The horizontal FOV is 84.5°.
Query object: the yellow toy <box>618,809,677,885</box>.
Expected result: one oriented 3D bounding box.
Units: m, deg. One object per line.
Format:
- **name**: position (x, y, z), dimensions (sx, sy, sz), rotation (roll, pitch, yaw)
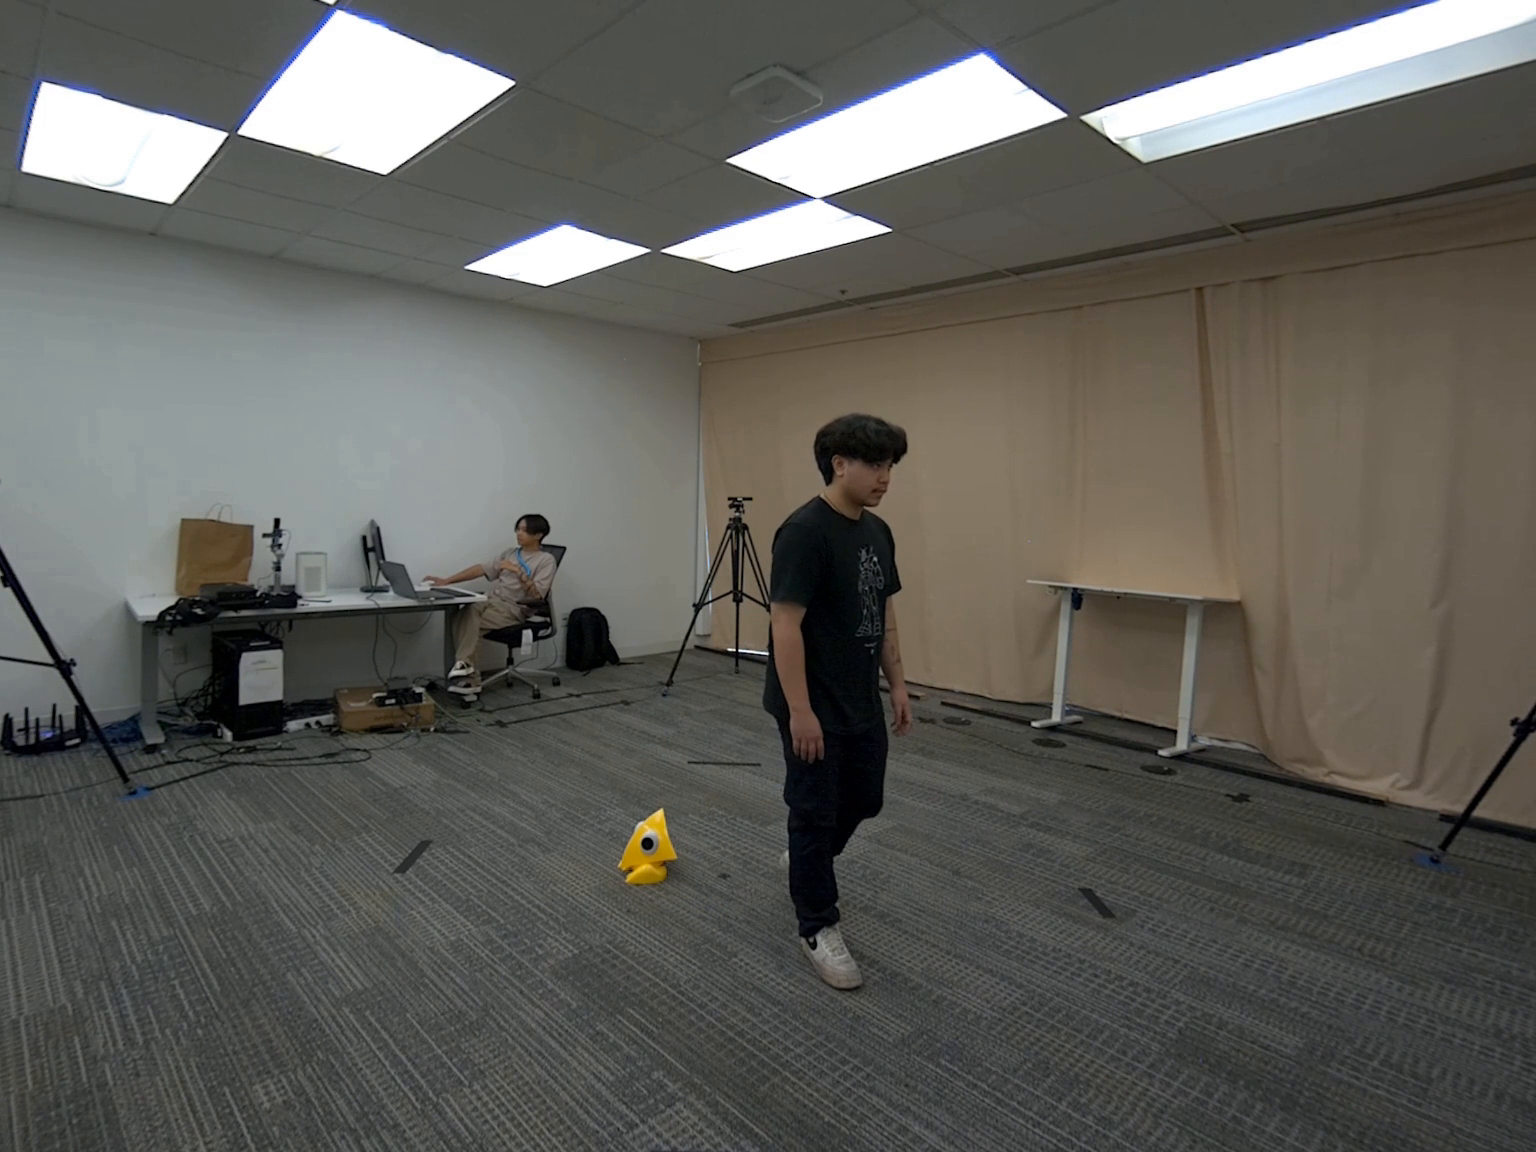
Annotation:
- **yellow toy**: position (-0.461, 0.986, 3.123), dimensions (0.190, 0.230, 0.209), rotation (0, 5, -22)
